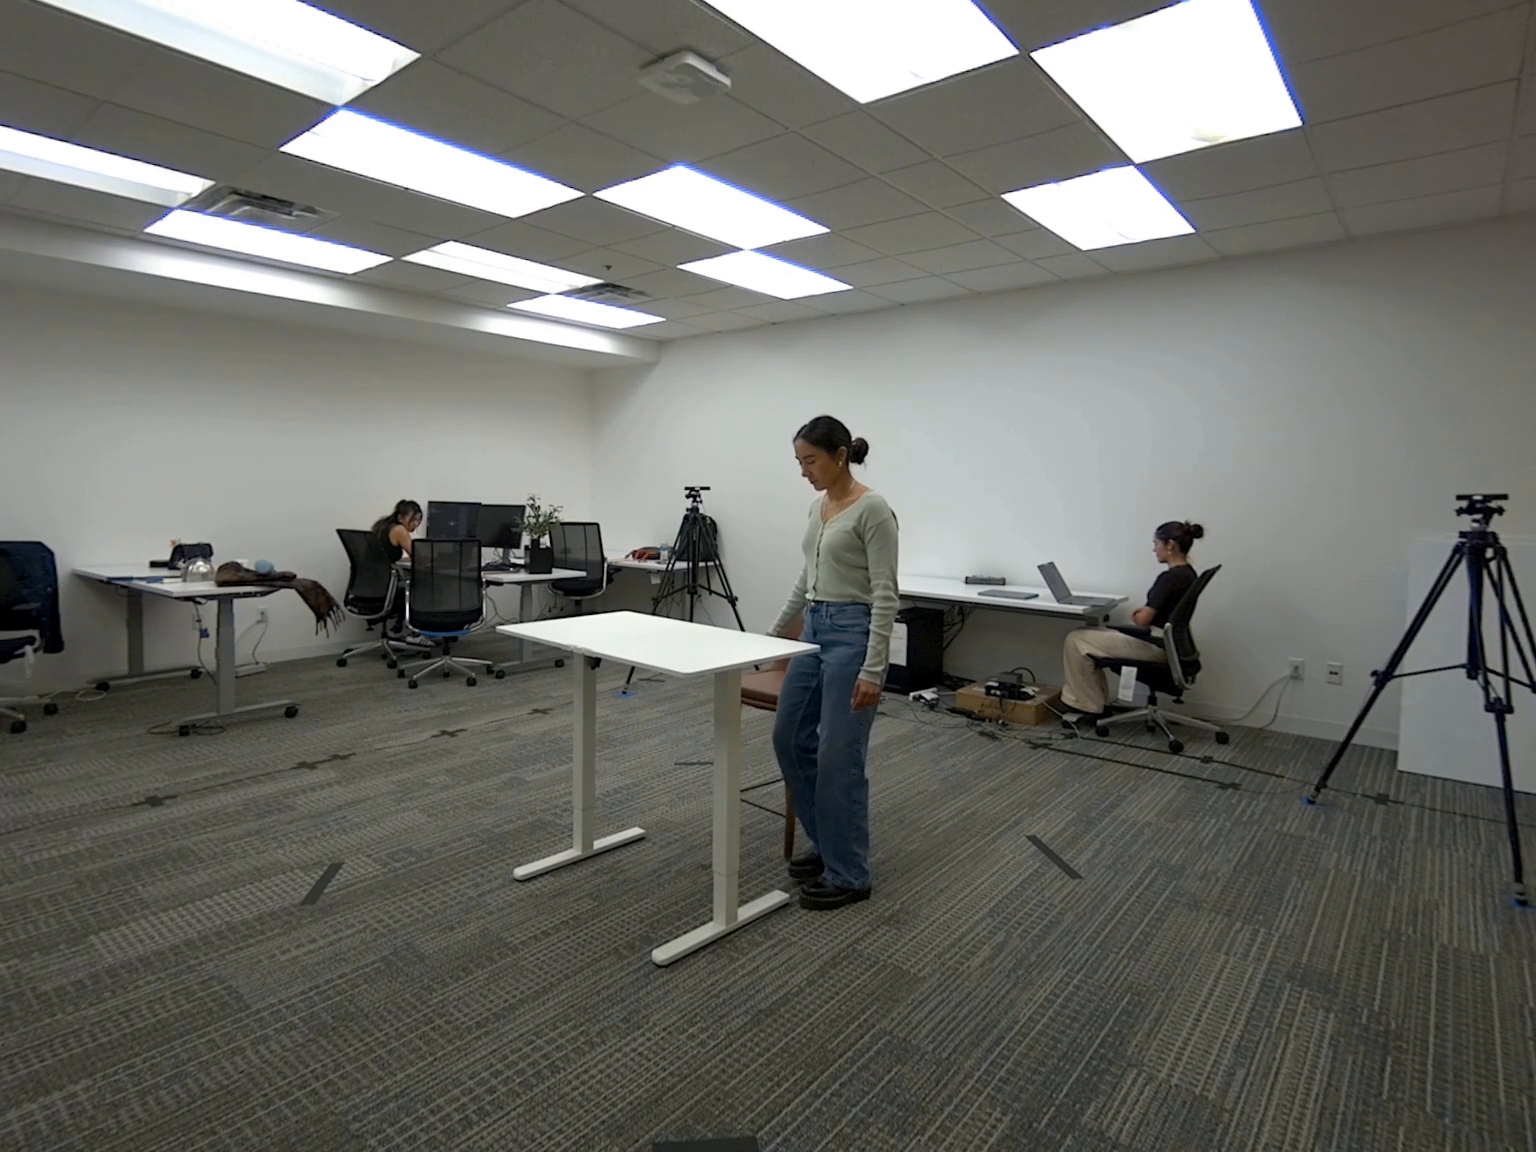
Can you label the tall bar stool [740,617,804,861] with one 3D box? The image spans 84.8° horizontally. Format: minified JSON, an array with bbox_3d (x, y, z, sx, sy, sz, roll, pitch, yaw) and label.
[{"bbox_3d":[0.082,0.595,3.458,0.472,0.888,0.452,5,3,45],"label":"tall bar stool"}]
